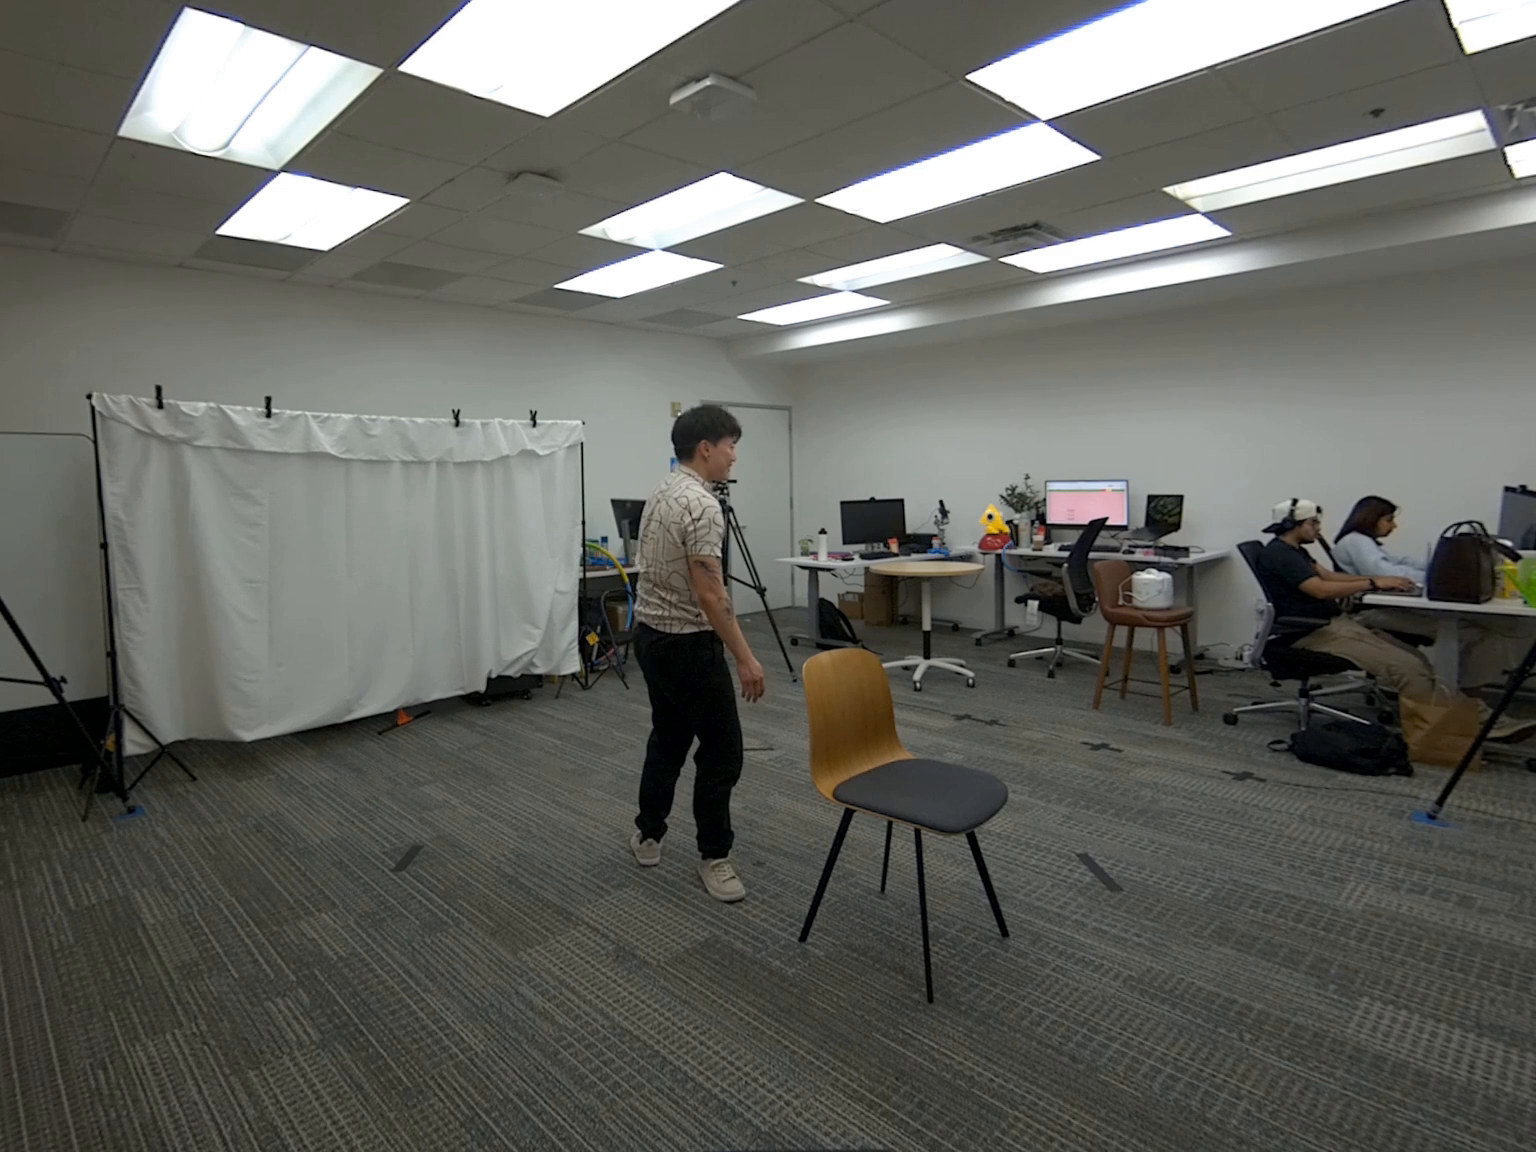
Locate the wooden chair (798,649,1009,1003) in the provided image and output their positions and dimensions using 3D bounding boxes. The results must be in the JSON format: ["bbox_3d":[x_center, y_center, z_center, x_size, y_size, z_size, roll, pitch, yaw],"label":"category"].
[{"bbox_3d":[0.410,0.674,2.545,0.537,0.877,0.465,-3,1,43],"label":"wooden chair"}]
